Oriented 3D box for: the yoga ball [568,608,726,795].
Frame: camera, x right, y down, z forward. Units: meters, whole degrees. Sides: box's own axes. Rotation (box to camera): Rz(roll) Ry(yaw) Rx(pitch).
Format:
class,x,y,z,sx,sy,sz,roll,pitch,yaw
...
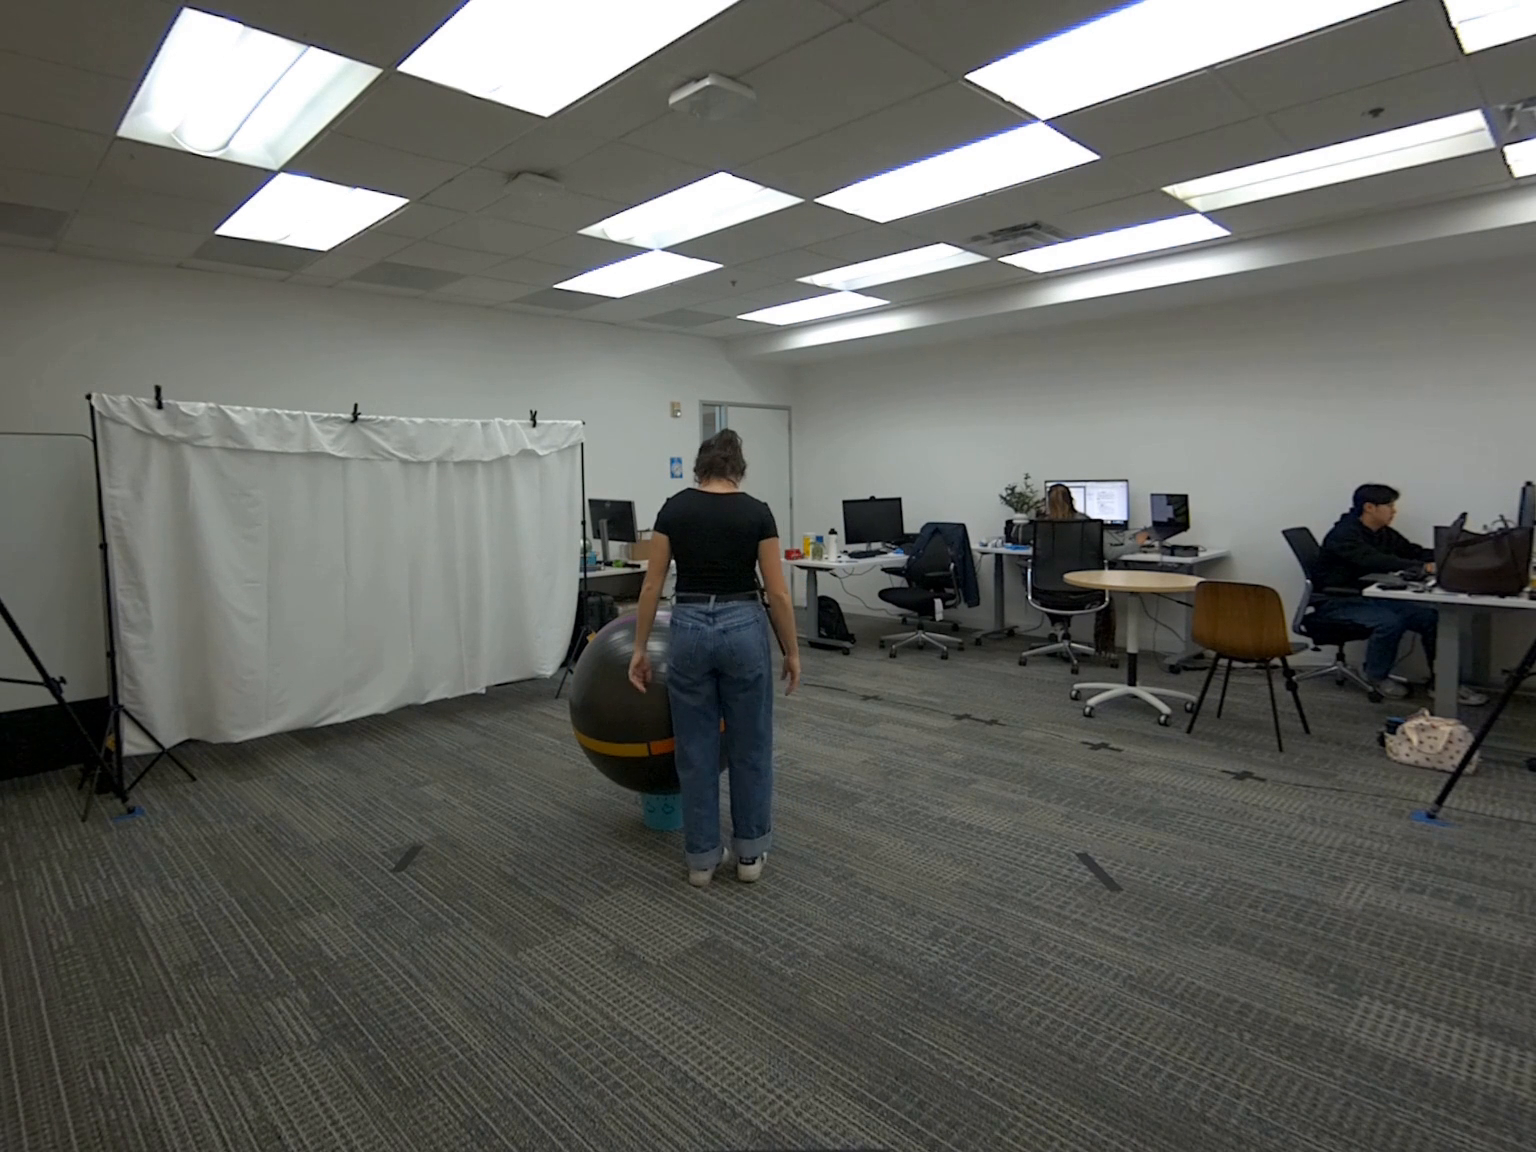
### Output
class,x,y,z,sx,sy,sz,roll,pitch,yaw
yoga ball,-0.429,0.502,3.486,0.757,0.755,0.762,-1,5,-2
